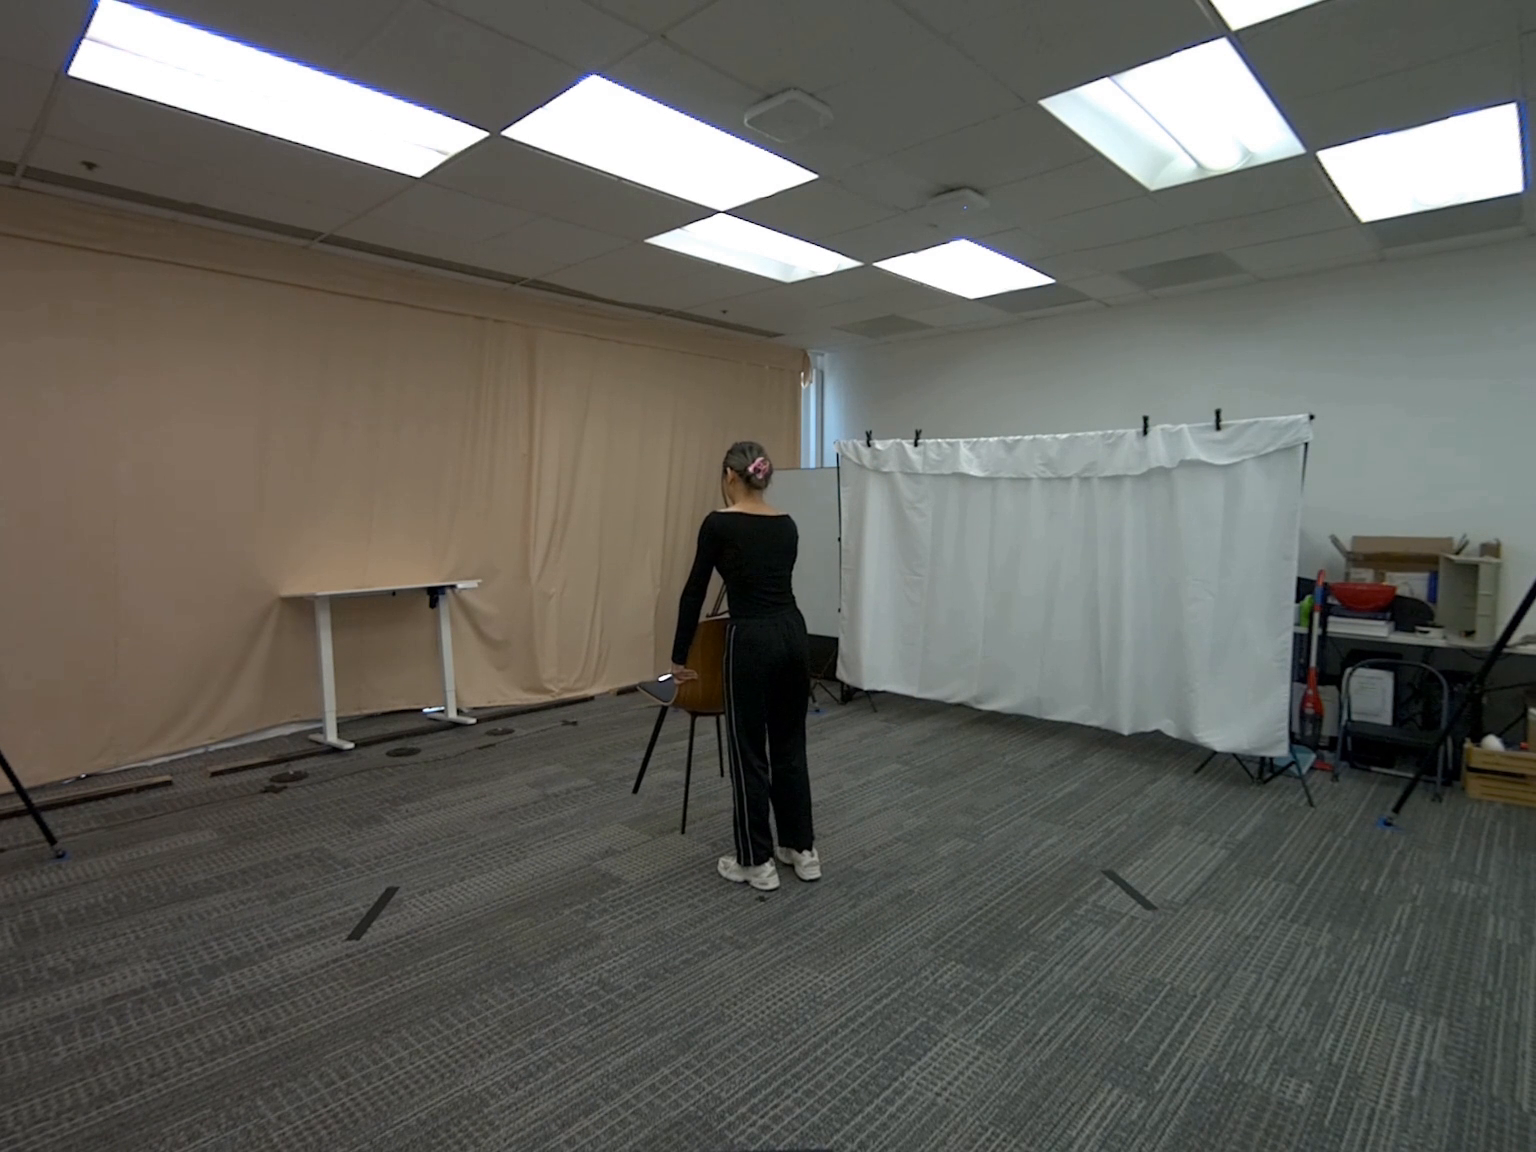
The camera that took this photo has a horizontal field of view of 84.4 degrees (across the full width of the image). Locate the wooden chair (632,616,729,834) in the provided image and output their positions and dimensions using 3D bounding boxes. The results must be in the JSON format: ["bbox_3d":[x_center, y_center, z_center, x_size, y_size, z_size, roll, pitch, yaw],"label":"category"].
[{"bbox_3d":[-0.259,0.530,3.471,0.465,0.872,0.541,-2,12,-32],"label":"wooden chair"}]
